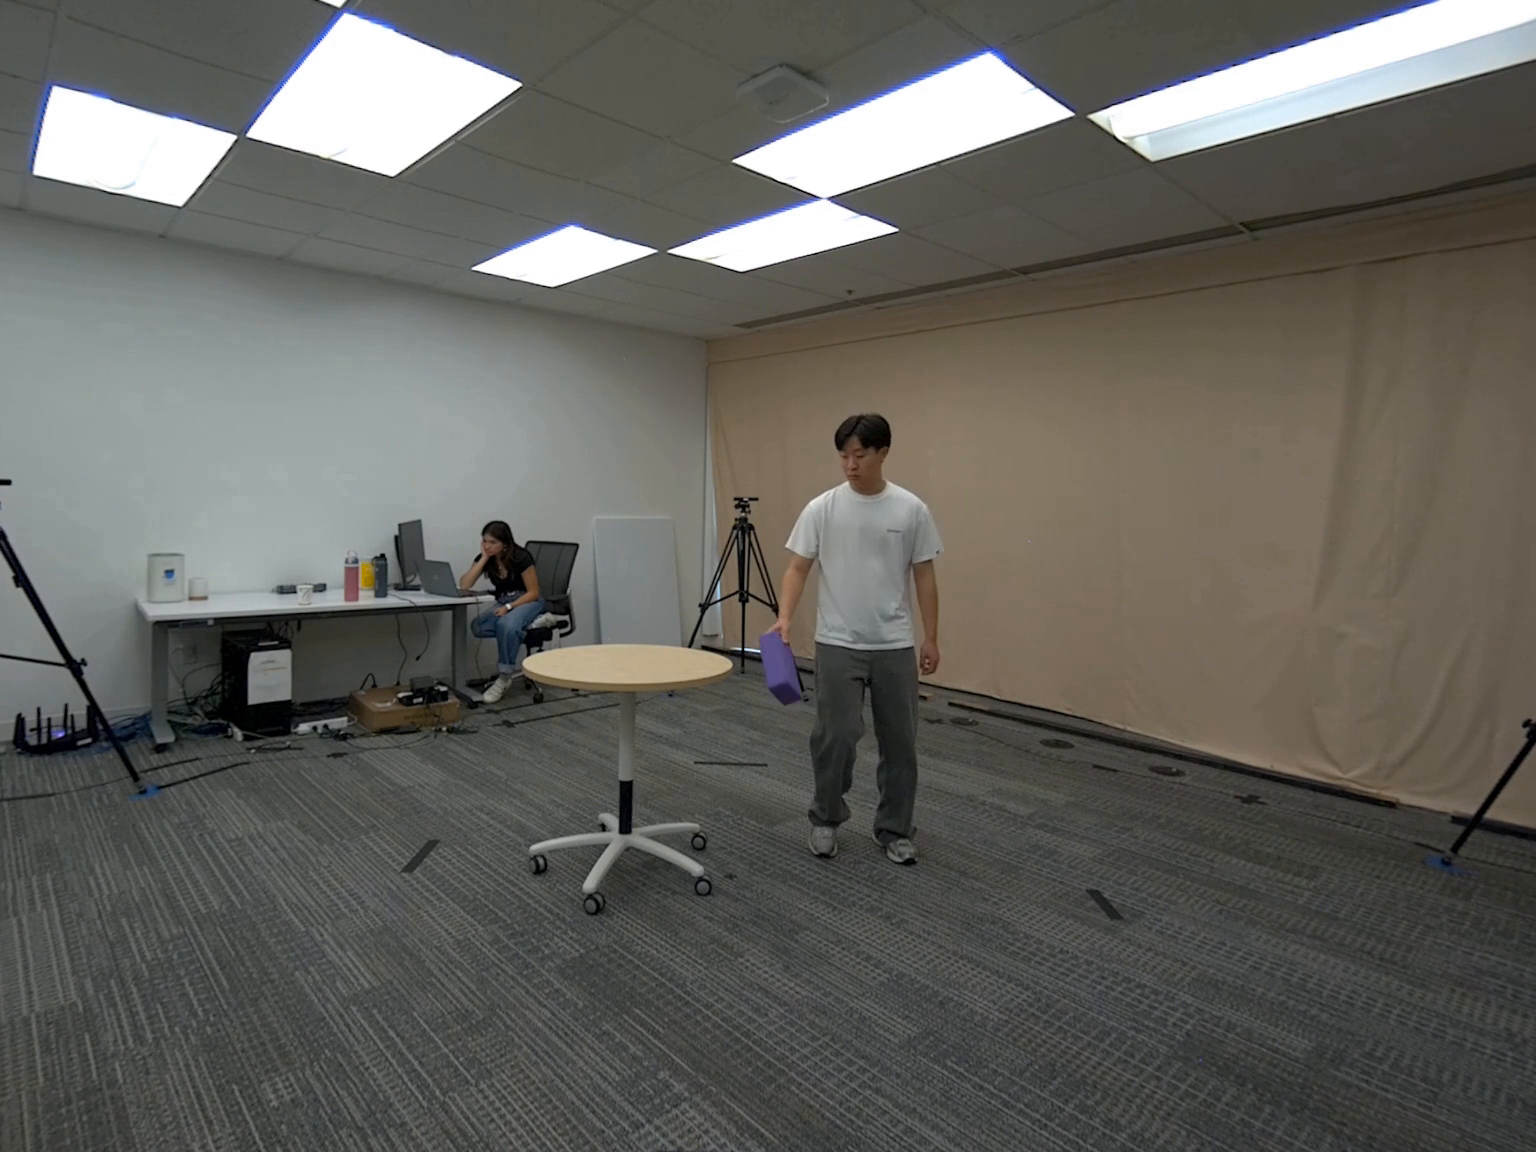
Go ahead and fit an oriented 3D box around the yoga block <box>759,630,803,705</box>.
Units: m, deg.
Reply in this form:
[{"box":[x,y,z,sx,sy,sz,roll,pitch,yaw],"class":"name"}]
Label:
[{"box":[0.029,0.326,3.024,0.077,0.235,0.144,-20,-42,17],"class":"yoga block"}]
